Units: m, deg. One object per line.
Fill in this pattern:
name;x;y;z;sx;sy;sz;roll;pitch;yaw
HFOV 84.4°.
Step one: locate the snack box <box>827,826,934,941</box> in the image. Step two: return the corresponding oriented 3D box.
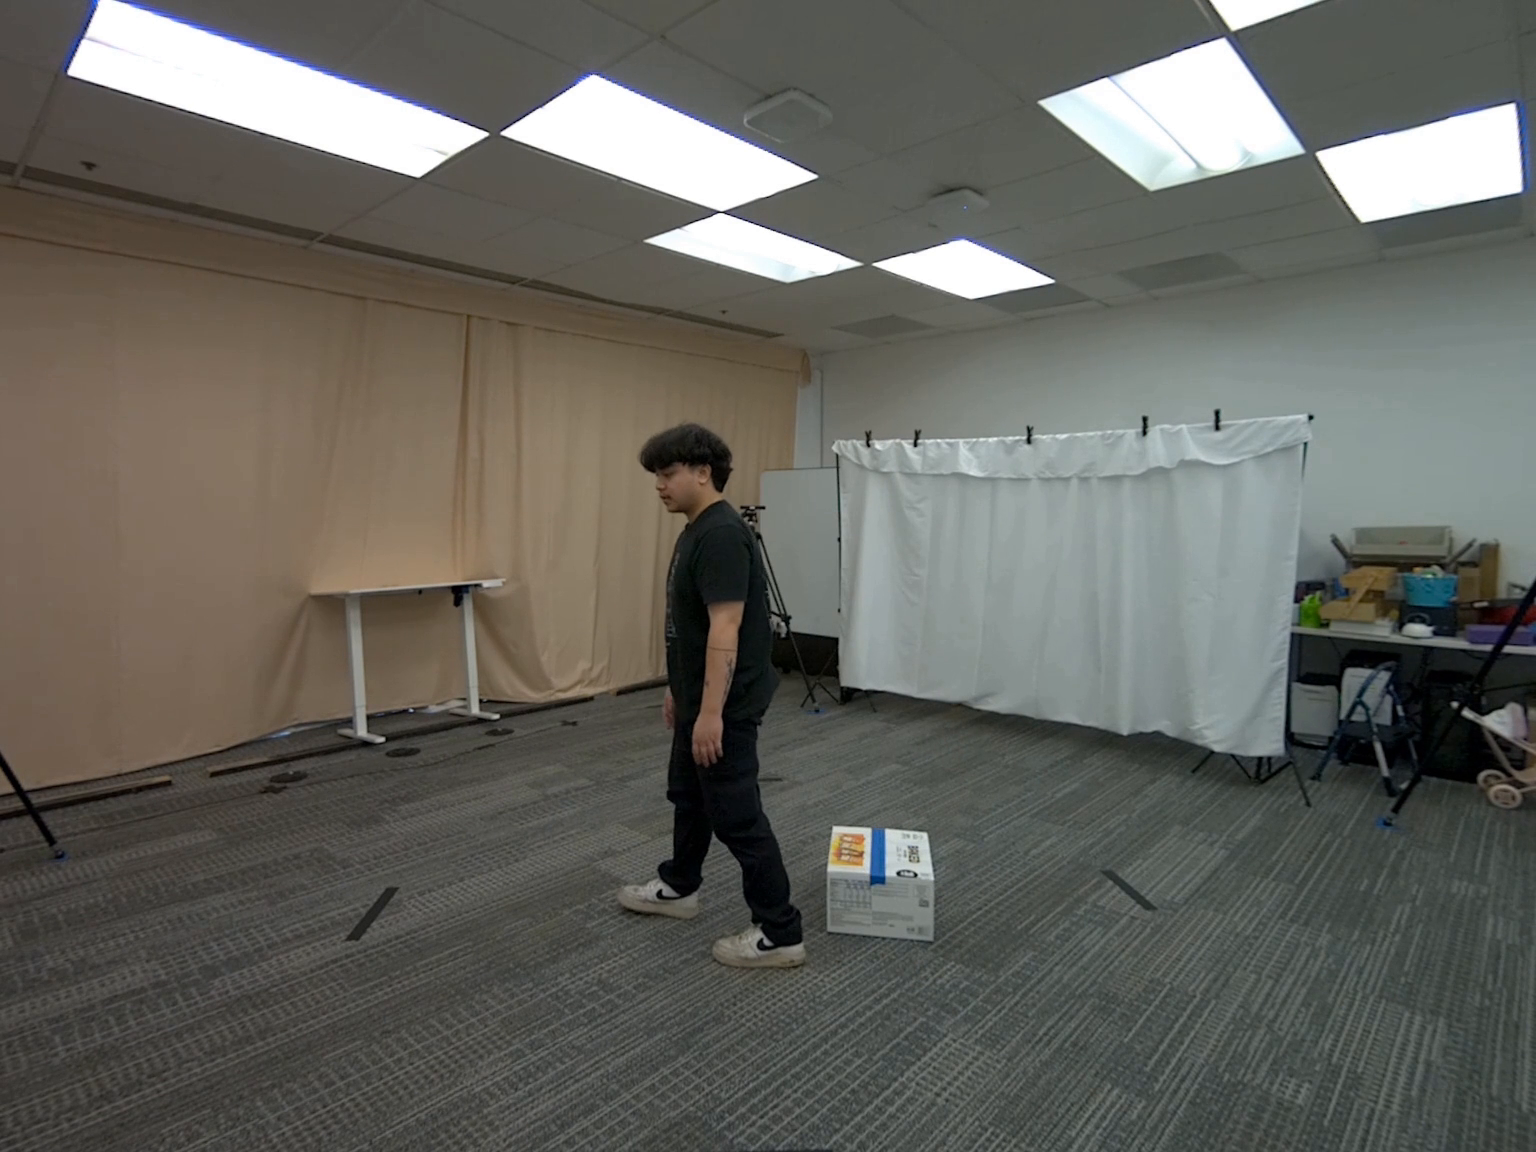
snack box;0.391;1.046;2.900;0.344;0.205;0.402;0;4;9
